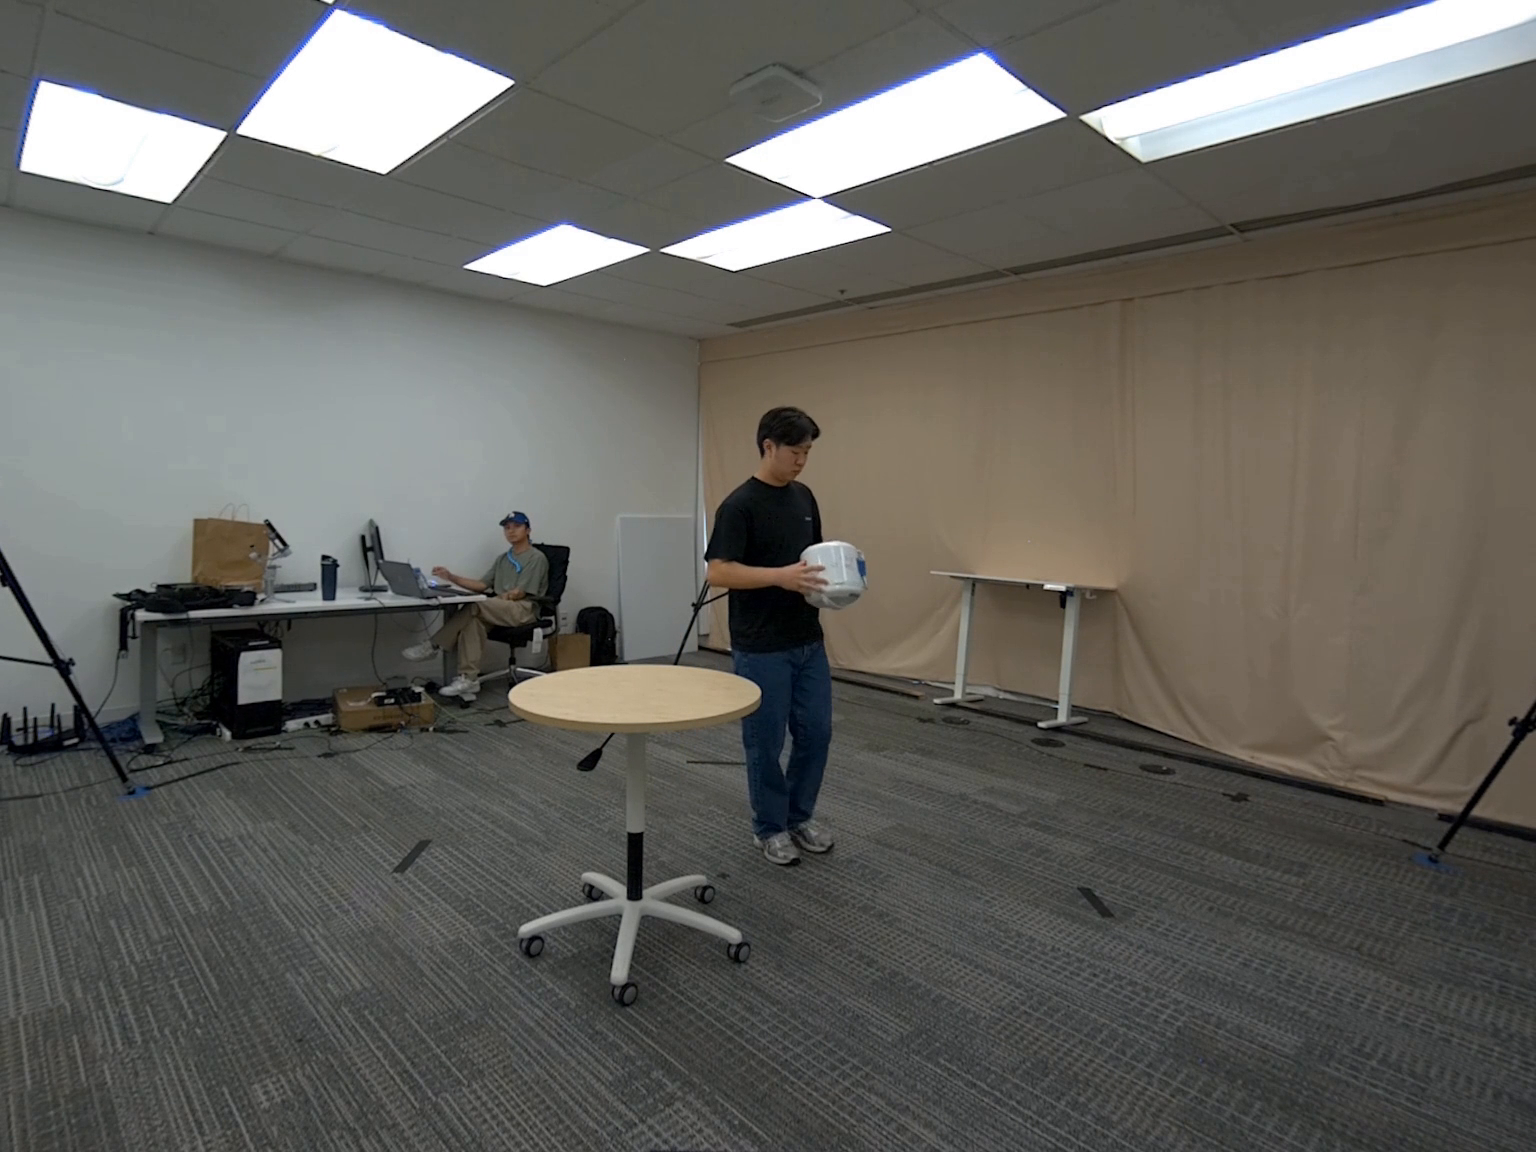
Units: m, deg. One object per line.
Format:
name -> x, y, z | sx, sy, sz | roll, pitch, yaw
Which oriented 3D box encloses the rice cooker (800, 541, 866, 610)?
rice cooker -> 0.220, 0.008, 3.080 | 0.220, 0.236, 0.214 | -16, -20, 30
